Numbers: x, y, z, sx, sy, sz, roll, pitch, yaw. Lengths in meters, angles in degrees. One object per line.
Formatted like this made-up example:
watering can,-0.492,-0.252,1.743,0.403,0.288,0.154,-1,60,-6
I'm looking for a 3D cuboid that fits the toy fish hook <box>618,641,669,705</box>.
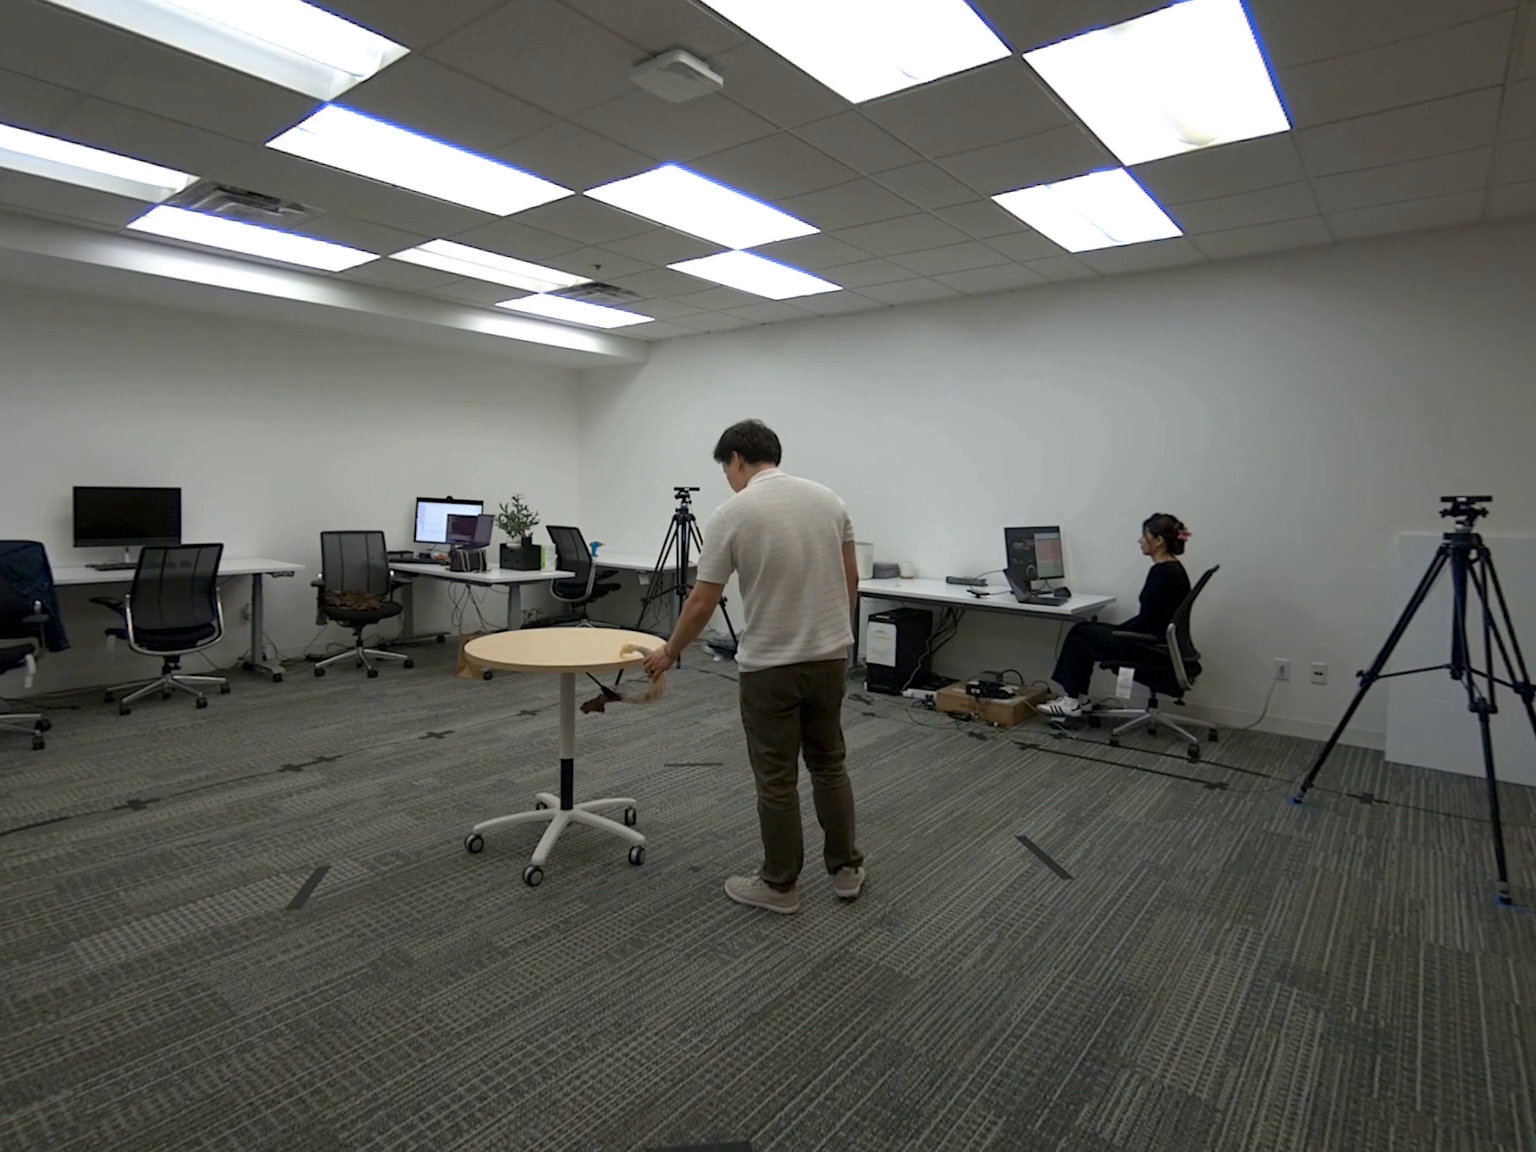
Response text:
toy fish hook,-0.559,0.380,3.096,0.515,0.227,0.047,-24,-11,39
